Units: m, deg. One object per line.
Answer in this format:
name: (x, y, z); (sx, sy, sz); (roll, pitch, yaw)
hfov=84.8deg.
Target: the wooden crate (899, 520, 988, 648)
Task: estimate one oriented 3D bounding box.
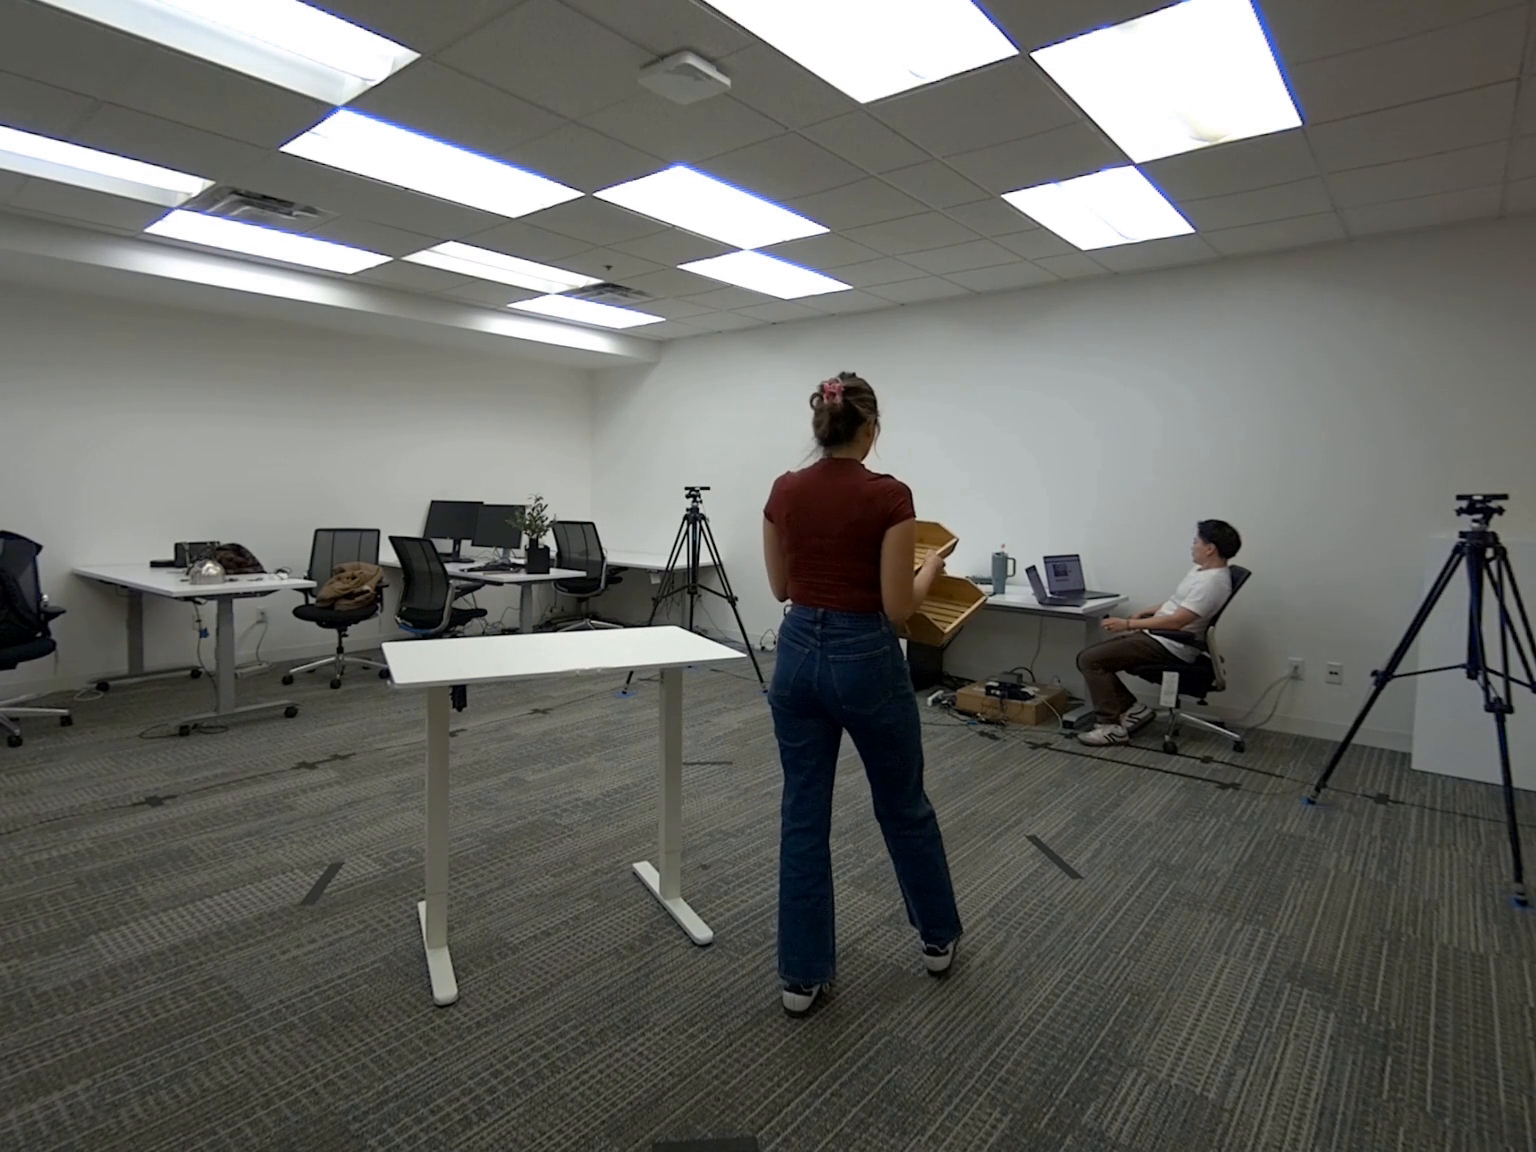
wooden crate: (0.446, 0.002, 2.524); (0.313, 0.268, 0.319); (9, 24, 38)
